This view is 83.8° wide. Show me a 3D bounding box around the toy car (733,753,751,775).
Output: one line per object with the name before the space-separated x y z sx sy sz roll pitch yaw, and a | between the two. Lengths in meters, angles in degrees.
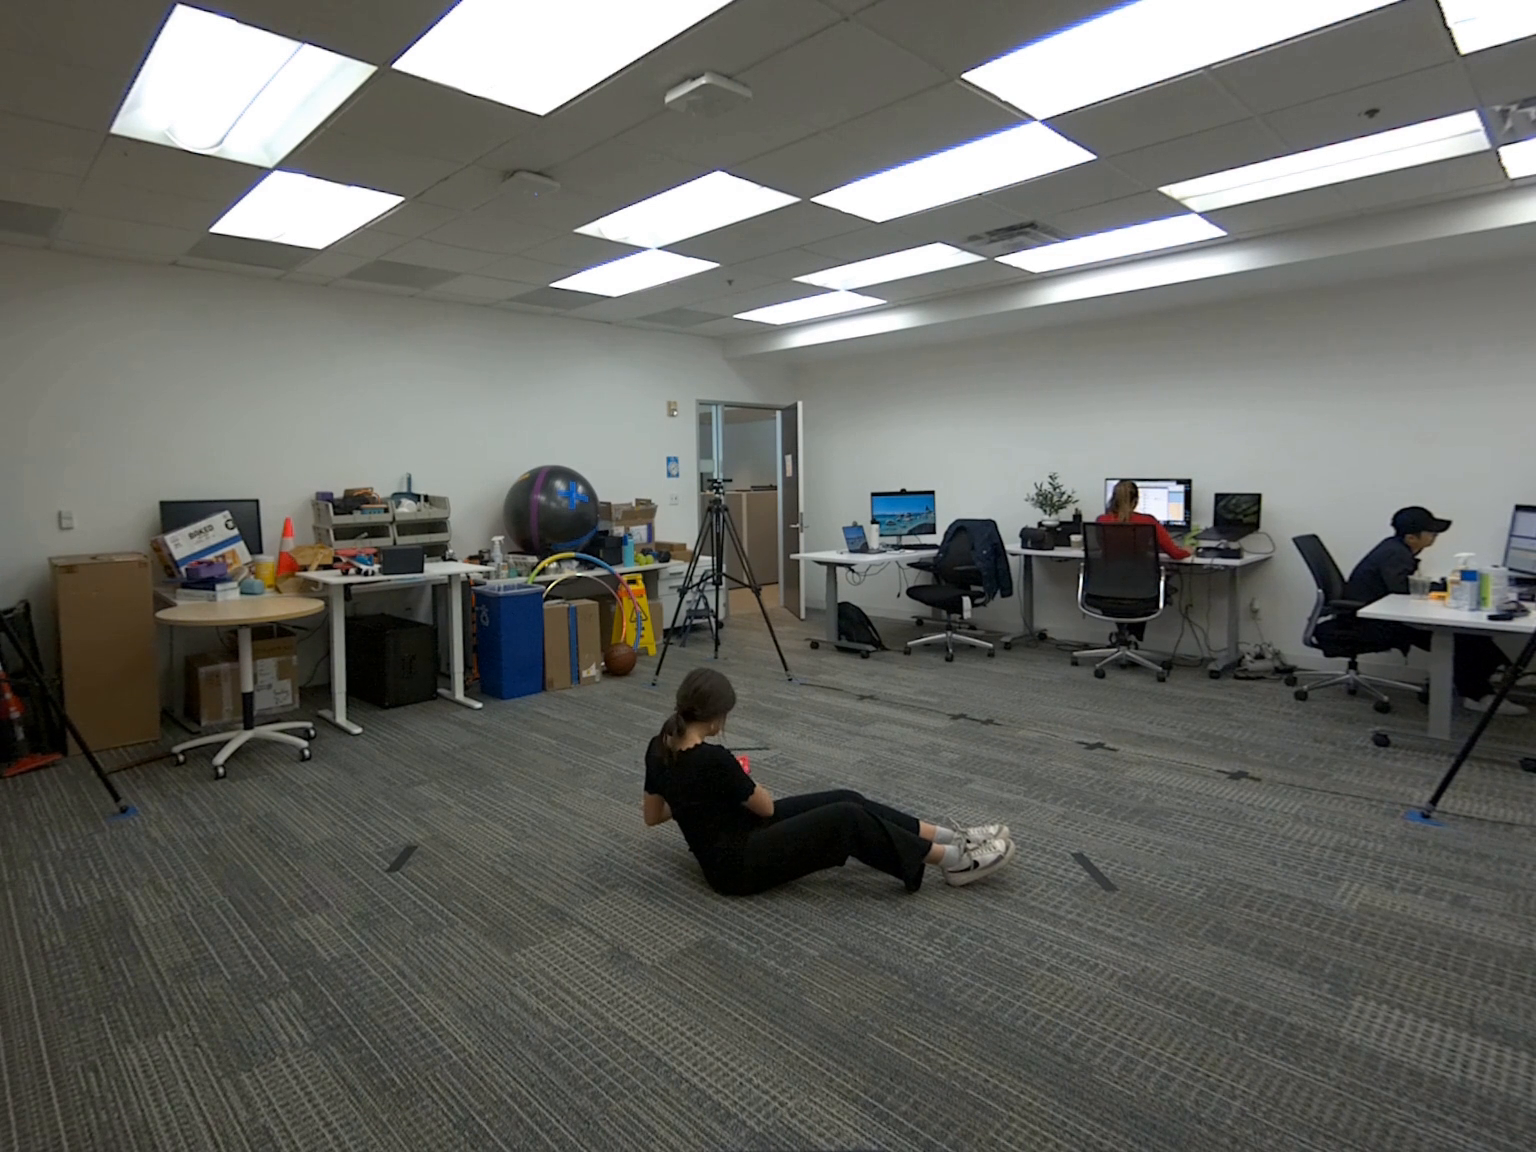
toy car | -0.123 0.812 3.318 0.132 0.260 0.080 -1 -40 11
